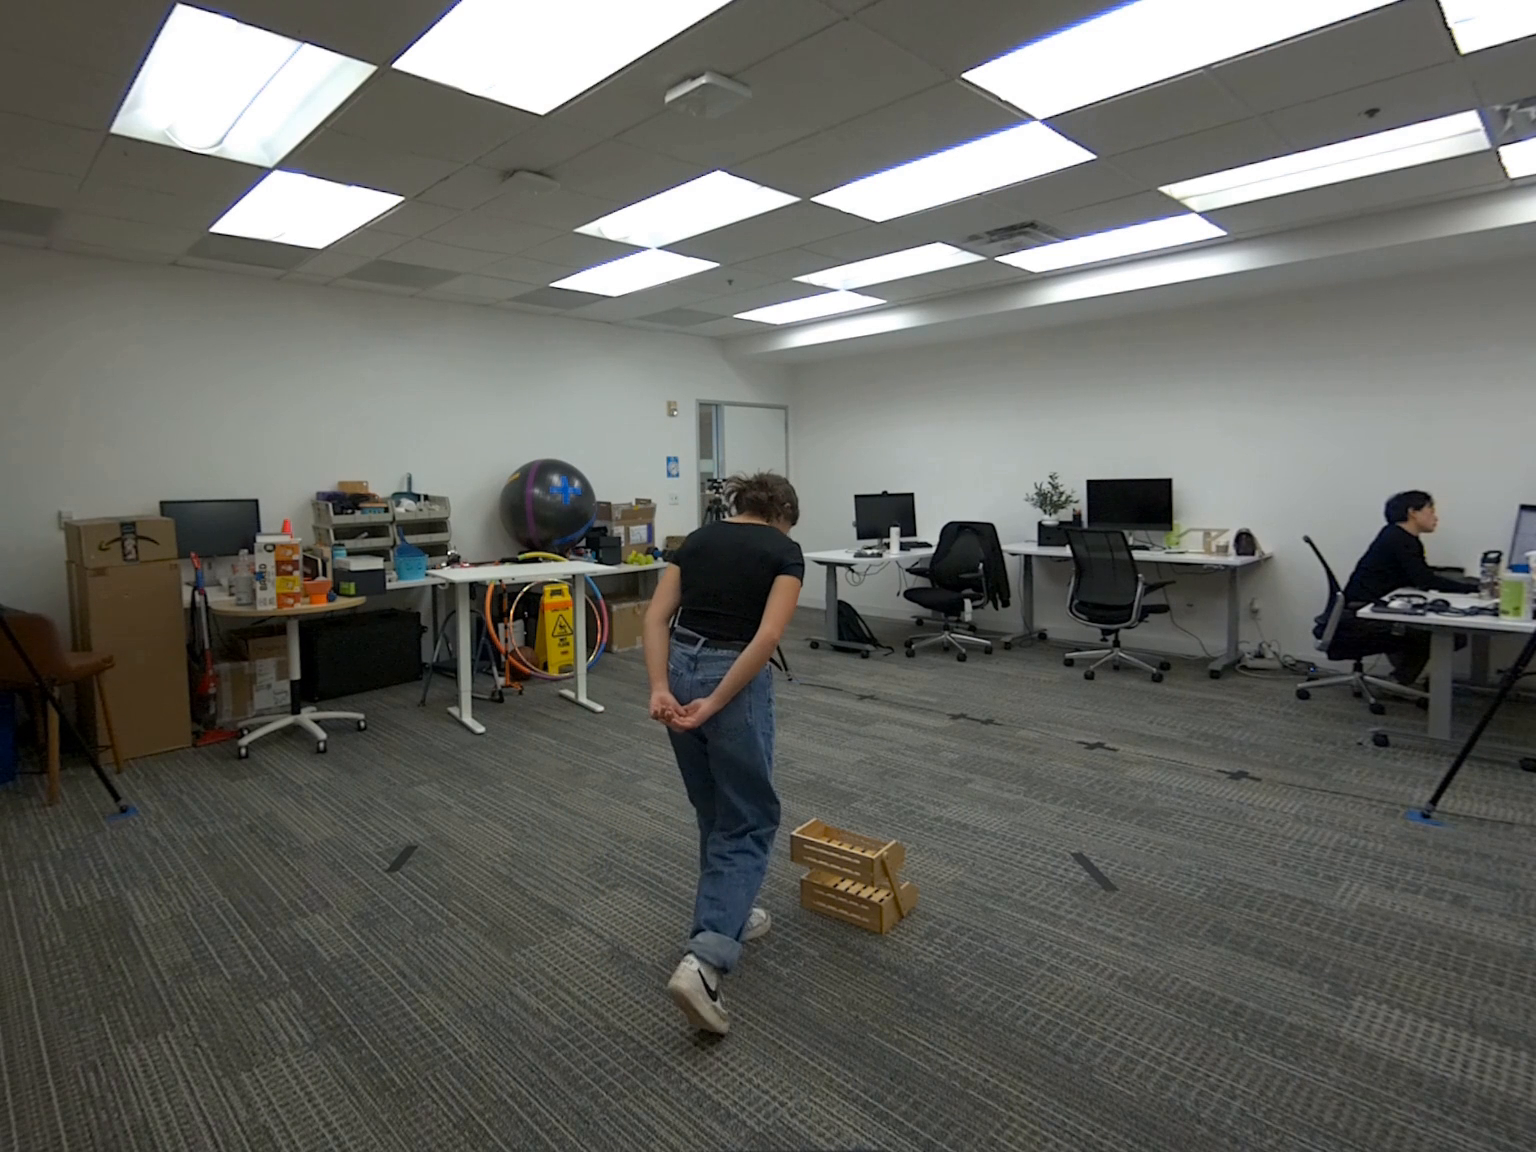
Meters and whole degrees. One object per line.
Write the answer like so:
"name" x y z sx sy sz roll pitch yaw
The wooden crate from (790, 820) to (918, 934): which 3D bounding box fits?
"wooden crate" 0.290 0.947 2.769 0.334 0.272 0.295 3 7 37
